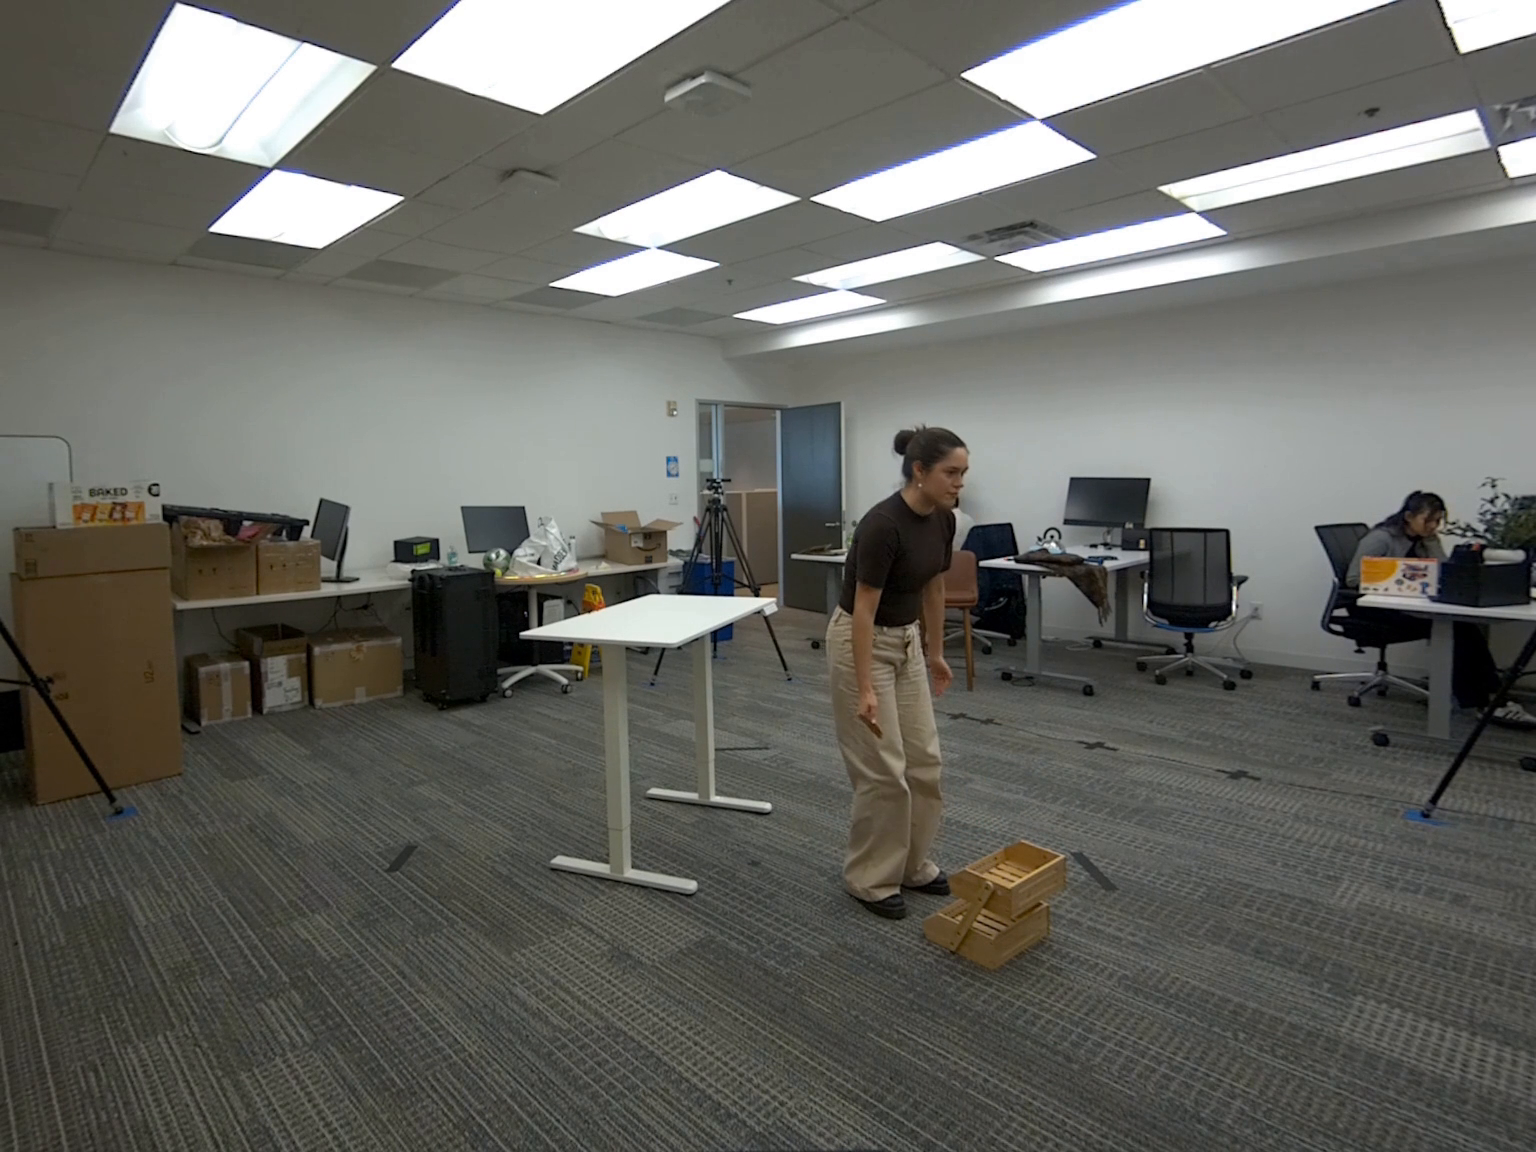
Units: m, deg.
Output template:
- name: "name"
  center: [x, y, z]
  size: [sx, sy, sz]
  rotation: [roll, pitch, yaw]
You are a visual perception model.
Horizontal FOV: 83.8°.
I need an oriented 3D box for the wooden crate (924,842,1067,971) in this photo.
- name: "wooden crate"
  center: [0.681, 0.959, 2.563]
  size: [0.316, 0.272, 0.311]
  rotation: [-5, 7, -41]
